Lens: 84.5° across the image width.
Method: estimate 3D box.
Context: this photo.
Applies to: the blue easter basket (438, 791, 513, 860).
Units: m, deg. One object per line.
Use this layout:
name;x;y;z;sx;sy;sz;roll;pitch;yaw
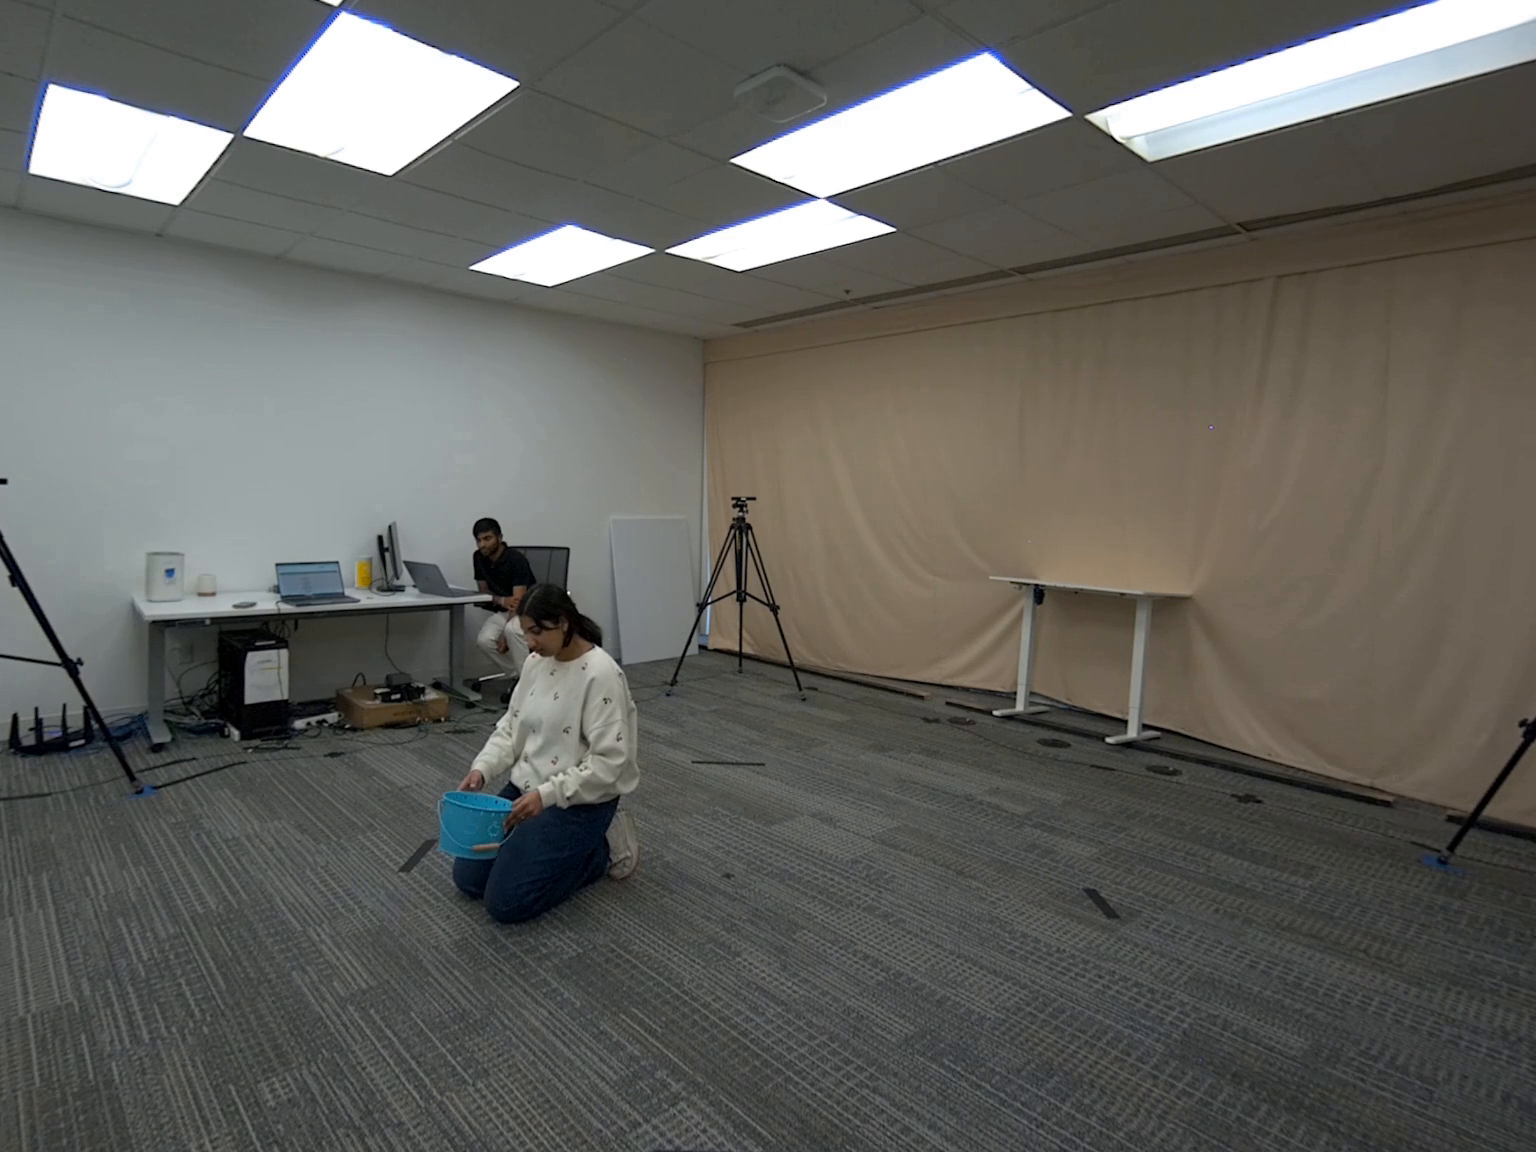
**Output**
blue easter basket;-0.929;0.780;2.597;0.244;0.156;0.242;10;-6;0
